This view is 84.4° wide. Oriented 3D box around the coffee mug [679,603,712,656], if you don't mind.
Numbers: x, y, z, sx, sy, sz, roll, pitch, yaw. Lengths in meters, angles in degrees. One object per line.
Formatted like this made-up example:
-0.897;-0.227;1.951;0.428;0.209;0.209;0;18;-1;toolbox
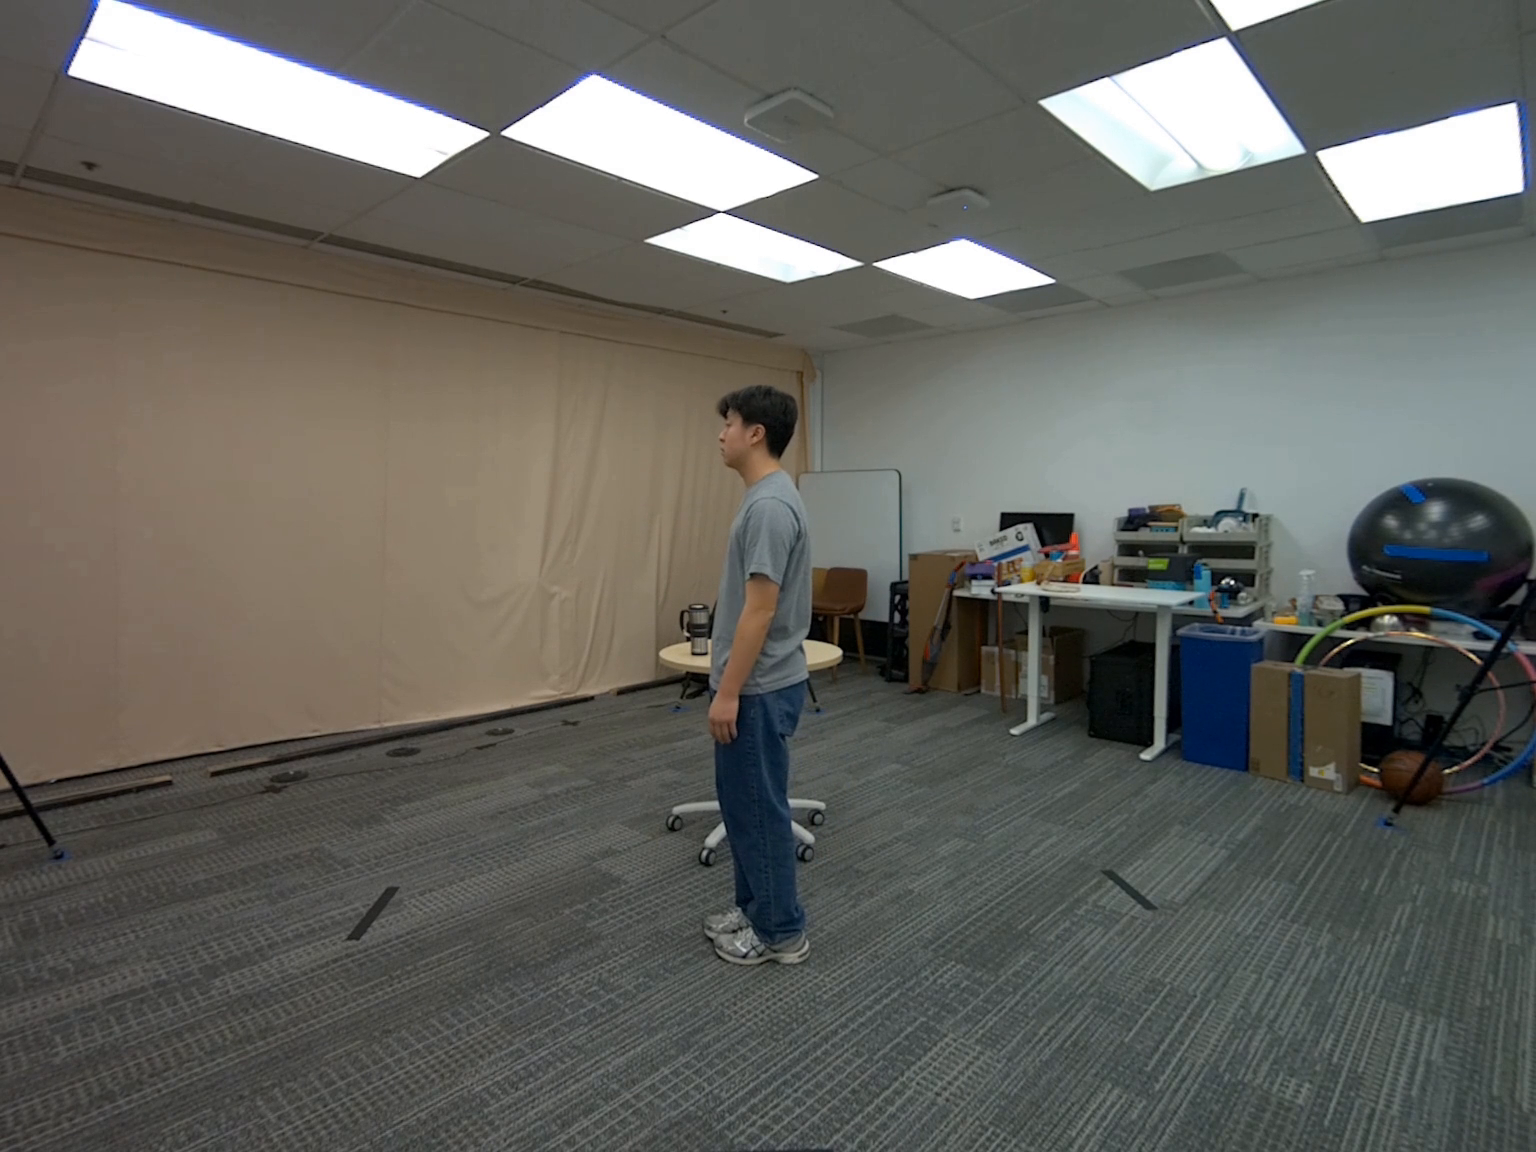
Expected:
-0.301;0.221;3.487;0.126;0.202;0.085;4;7;38;coffee mug
